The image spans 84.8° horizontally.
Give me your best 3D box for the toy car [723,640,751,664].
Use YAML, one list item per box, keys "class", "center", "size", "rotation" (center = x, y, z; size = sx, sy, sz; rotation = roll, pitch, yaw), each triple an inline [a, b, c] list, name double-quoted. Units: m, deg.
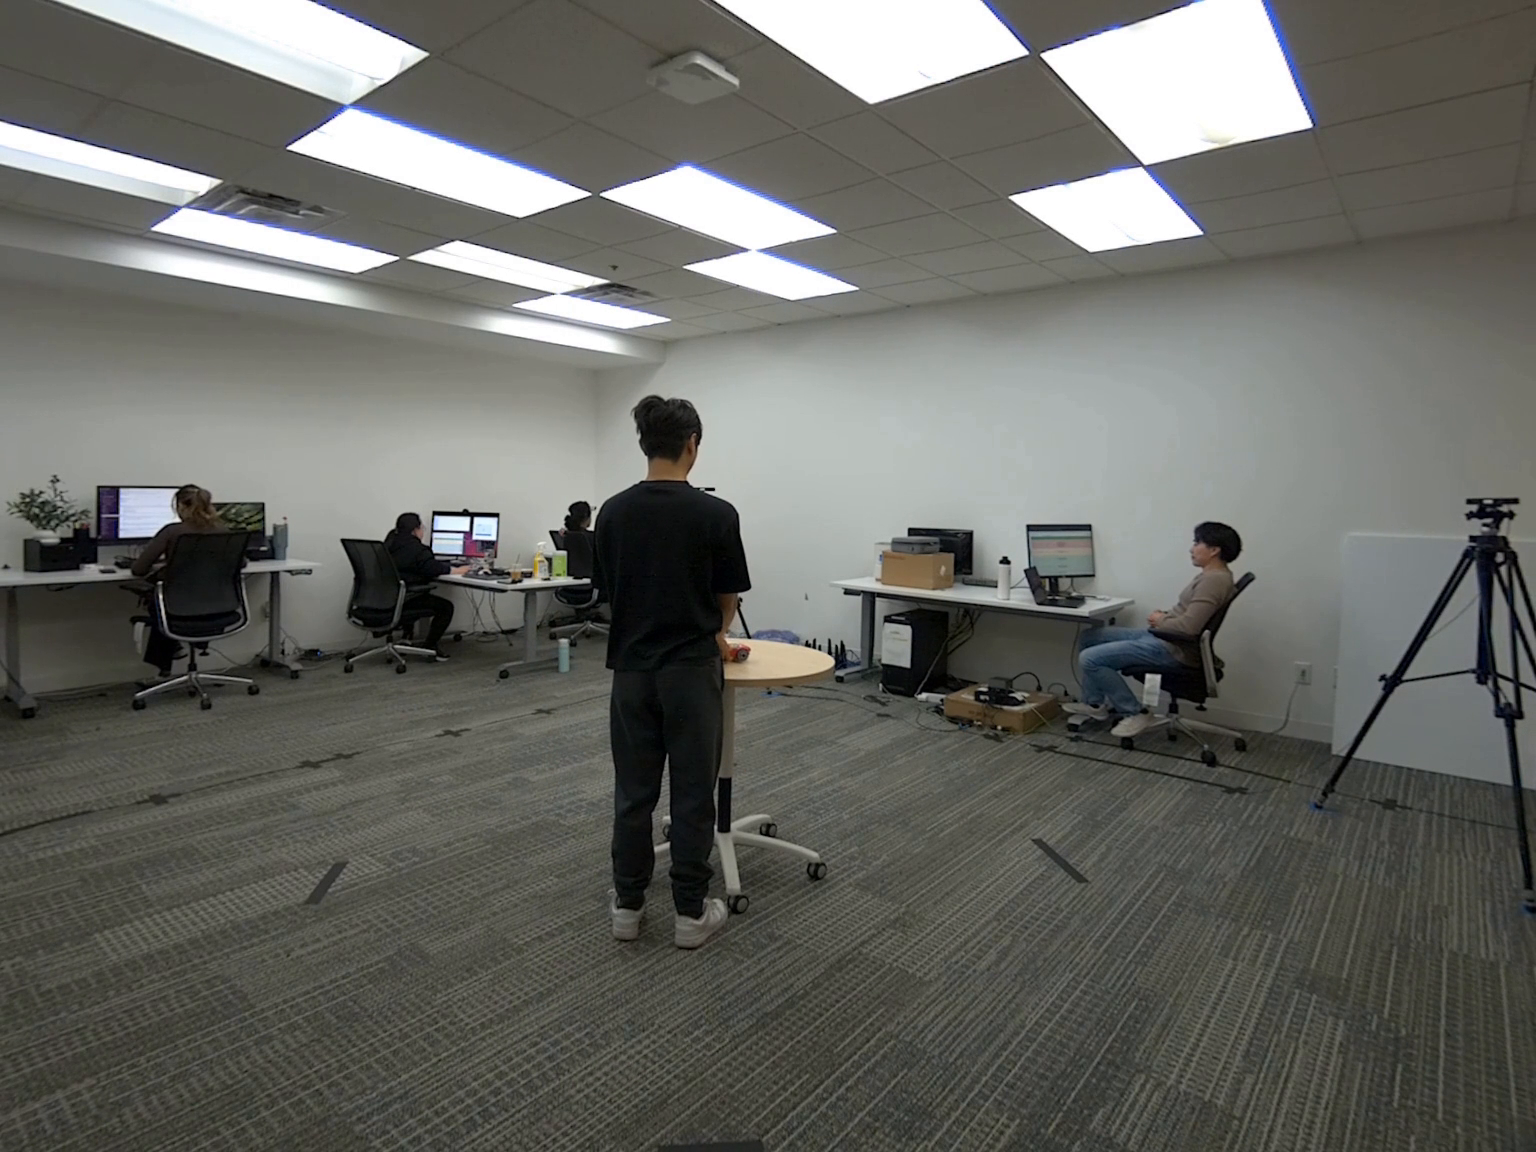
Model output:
- class: "toy car"
  center: [-0.202, 0.259, 2.986]
  size: [0.251, 0.083, 0.132]
  rotation: [11, 0, -12]
